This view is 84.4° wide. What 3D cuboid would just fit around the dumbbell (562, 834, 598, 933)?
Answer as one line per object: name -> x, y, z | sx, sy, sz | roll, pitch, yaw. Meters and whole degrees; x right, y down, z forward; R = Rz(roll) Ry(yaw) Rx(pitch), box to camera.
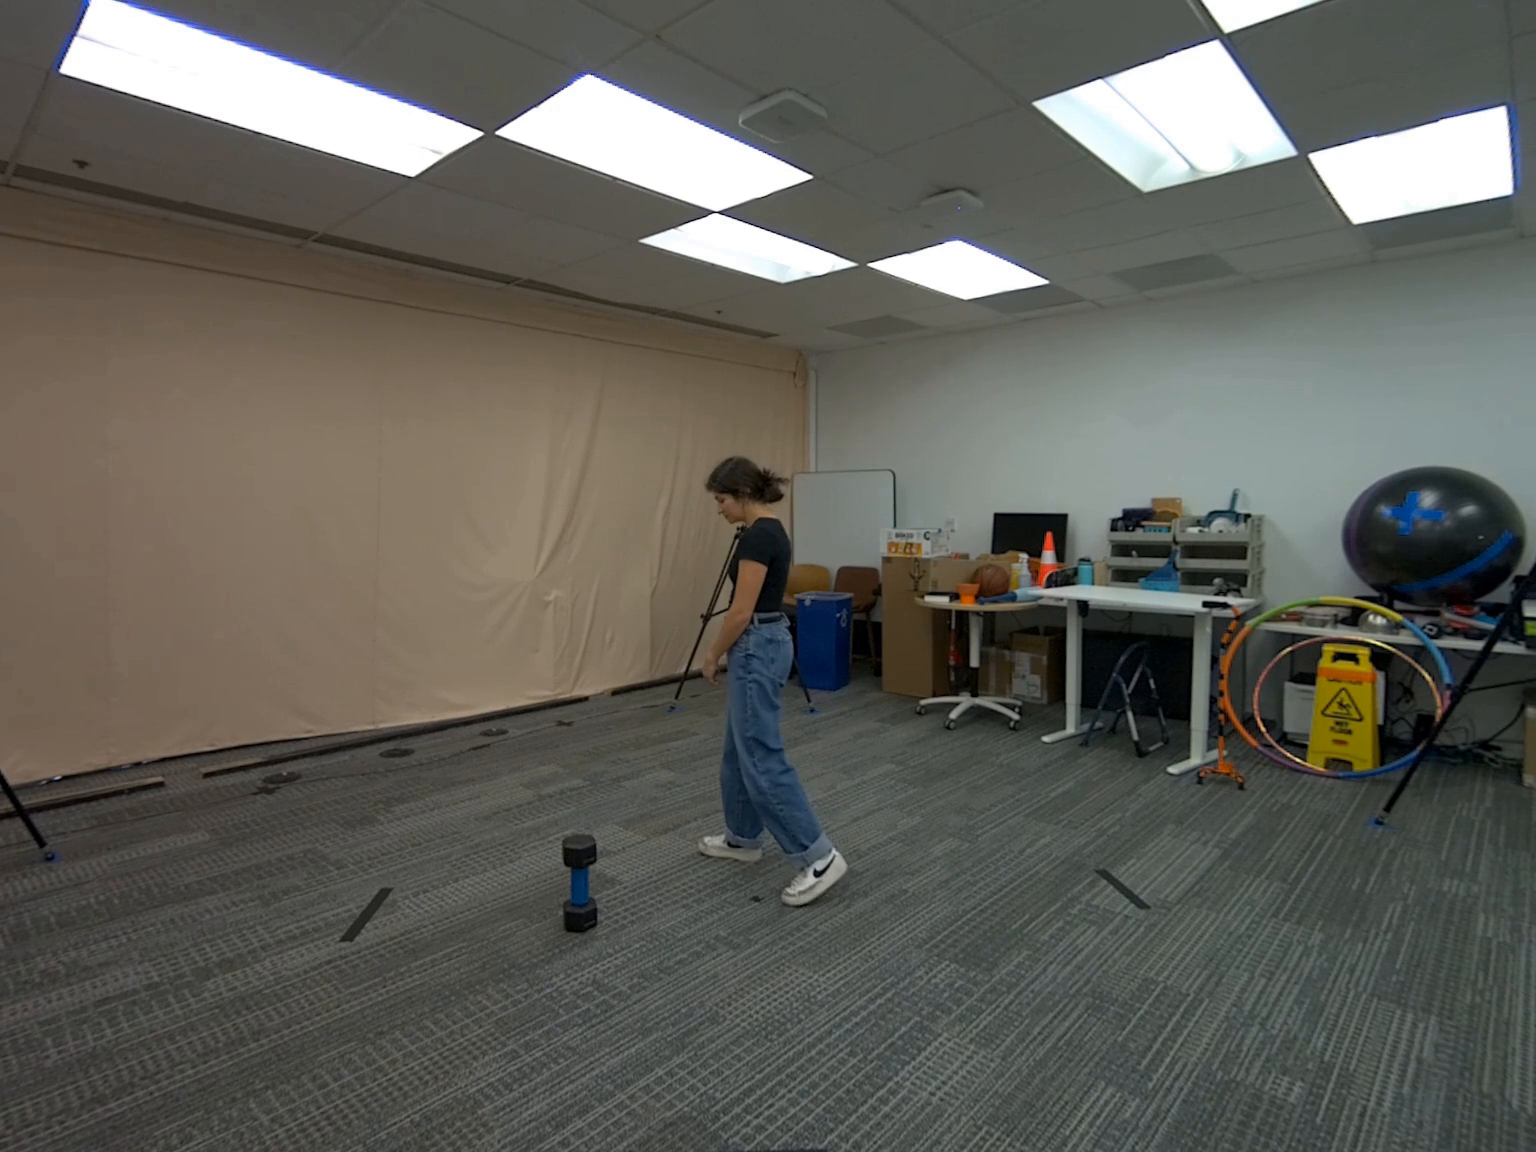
dumbbell -> -0.625, 1.022, 2.791 | 0.107, 0.293, 0.125 | 0, 2, -19
